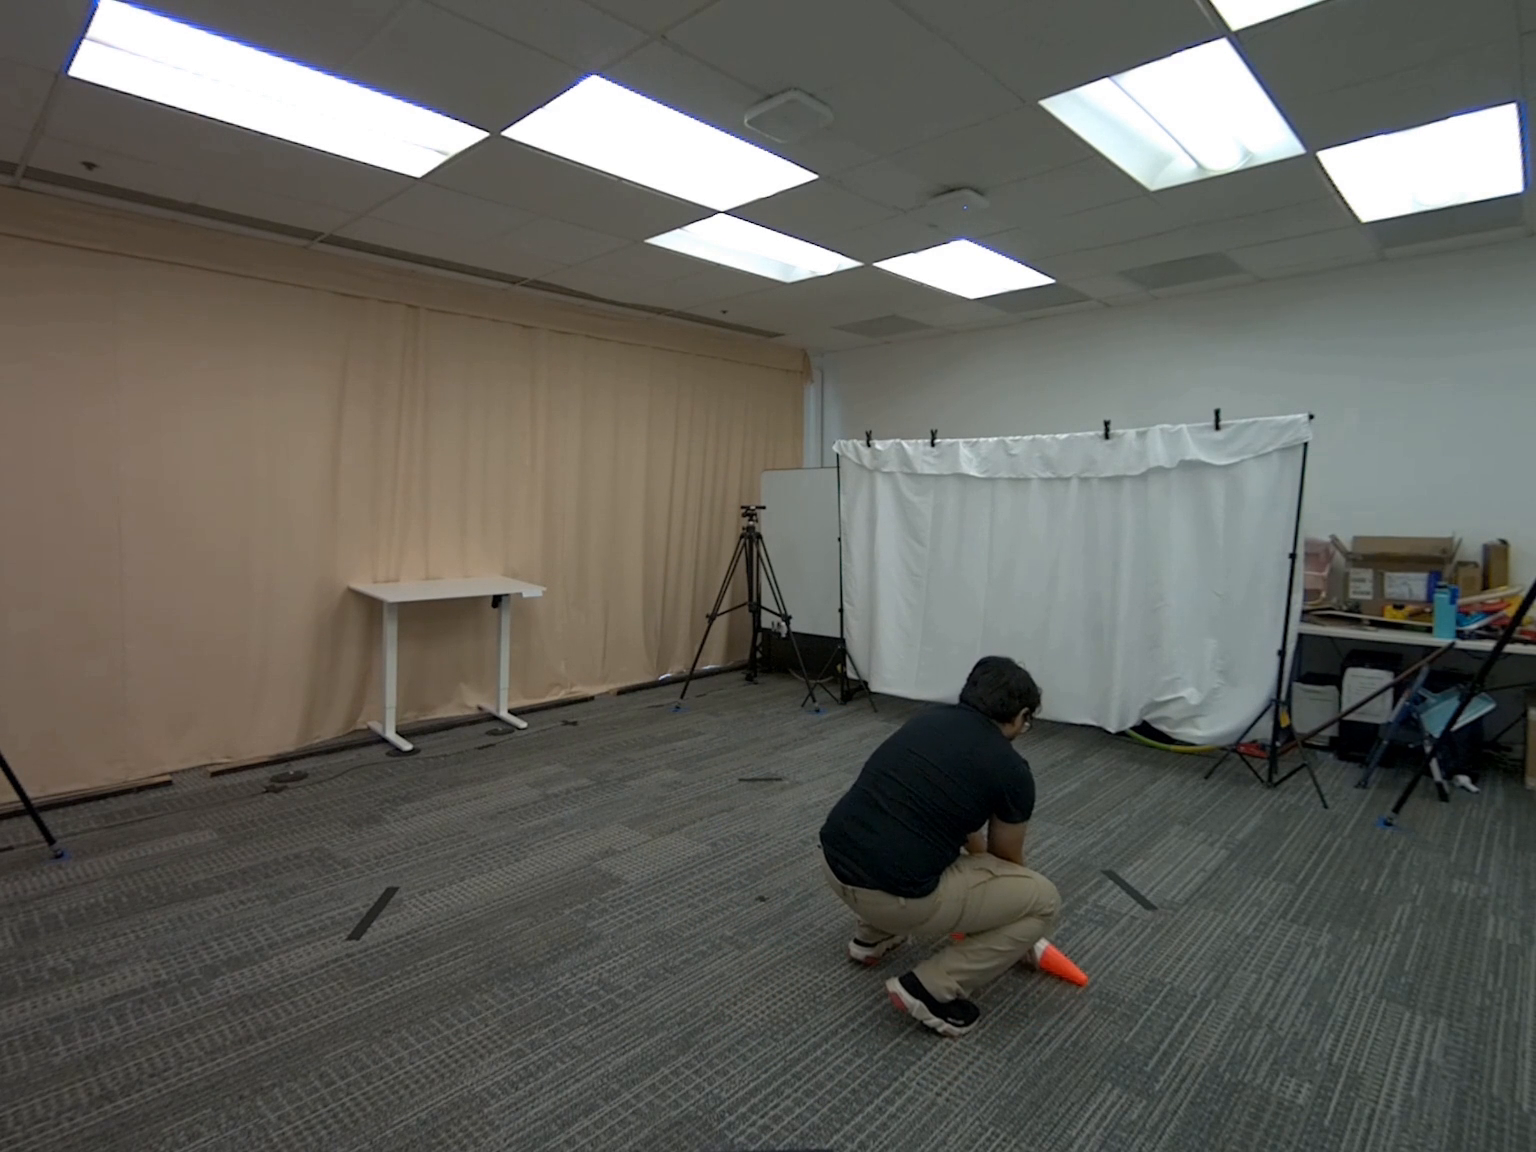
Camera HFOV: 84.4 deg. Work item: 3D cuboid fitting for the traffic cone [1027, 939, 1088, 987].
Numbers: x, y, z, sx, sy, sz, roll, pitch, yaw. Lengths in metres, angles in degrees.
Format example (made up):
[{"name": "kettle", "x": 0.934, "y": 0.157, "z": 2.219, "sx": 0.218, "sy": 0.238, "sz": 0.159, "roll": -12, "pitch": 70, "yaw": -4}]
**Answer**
[{"name": "traffic cone", "x": 0.794, "y": 1.123, "z": 2.548, "sx": 0.398, "sy": 0.205, "sz": 0.196, "roll": 20, "pitch": -13, "yaw": 39}]
